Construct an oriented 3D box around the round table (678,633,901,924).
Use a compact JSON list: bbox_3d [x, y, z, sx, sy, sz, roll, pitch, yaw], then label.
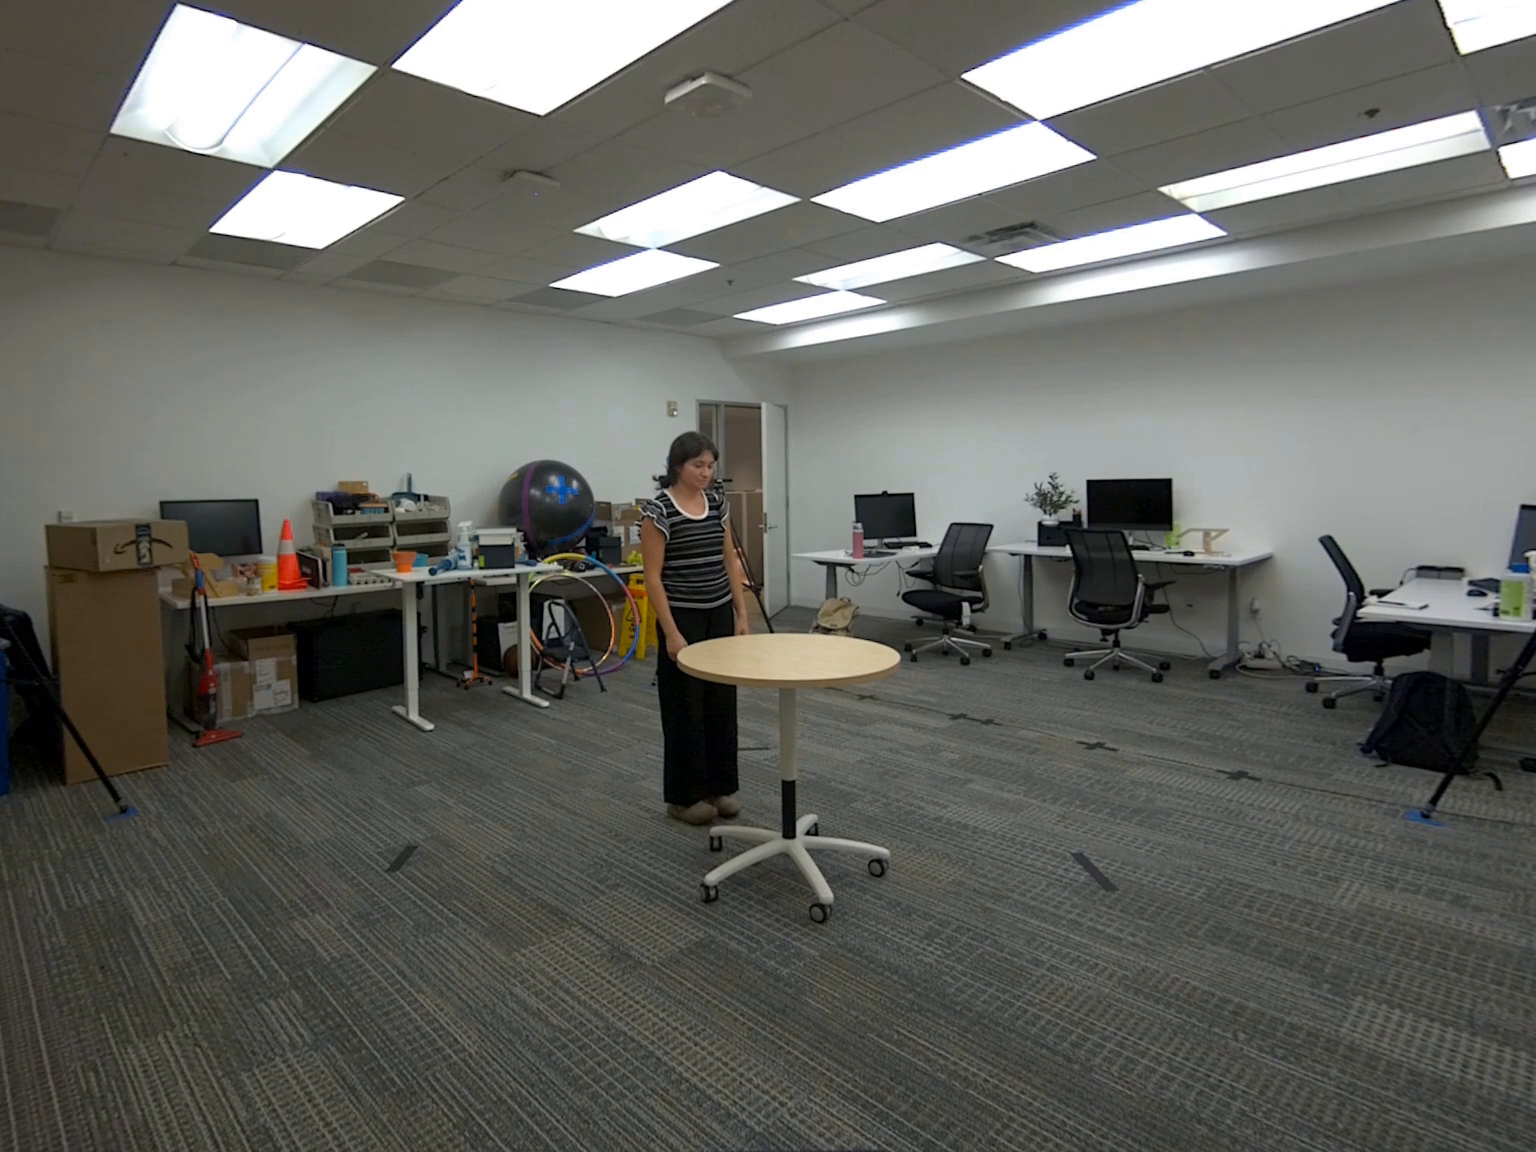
[{"bbox_3d":[0.073,0.665,2.981,0.763,0.791,0.768,-1,5,-2],"label":"round table"}]
